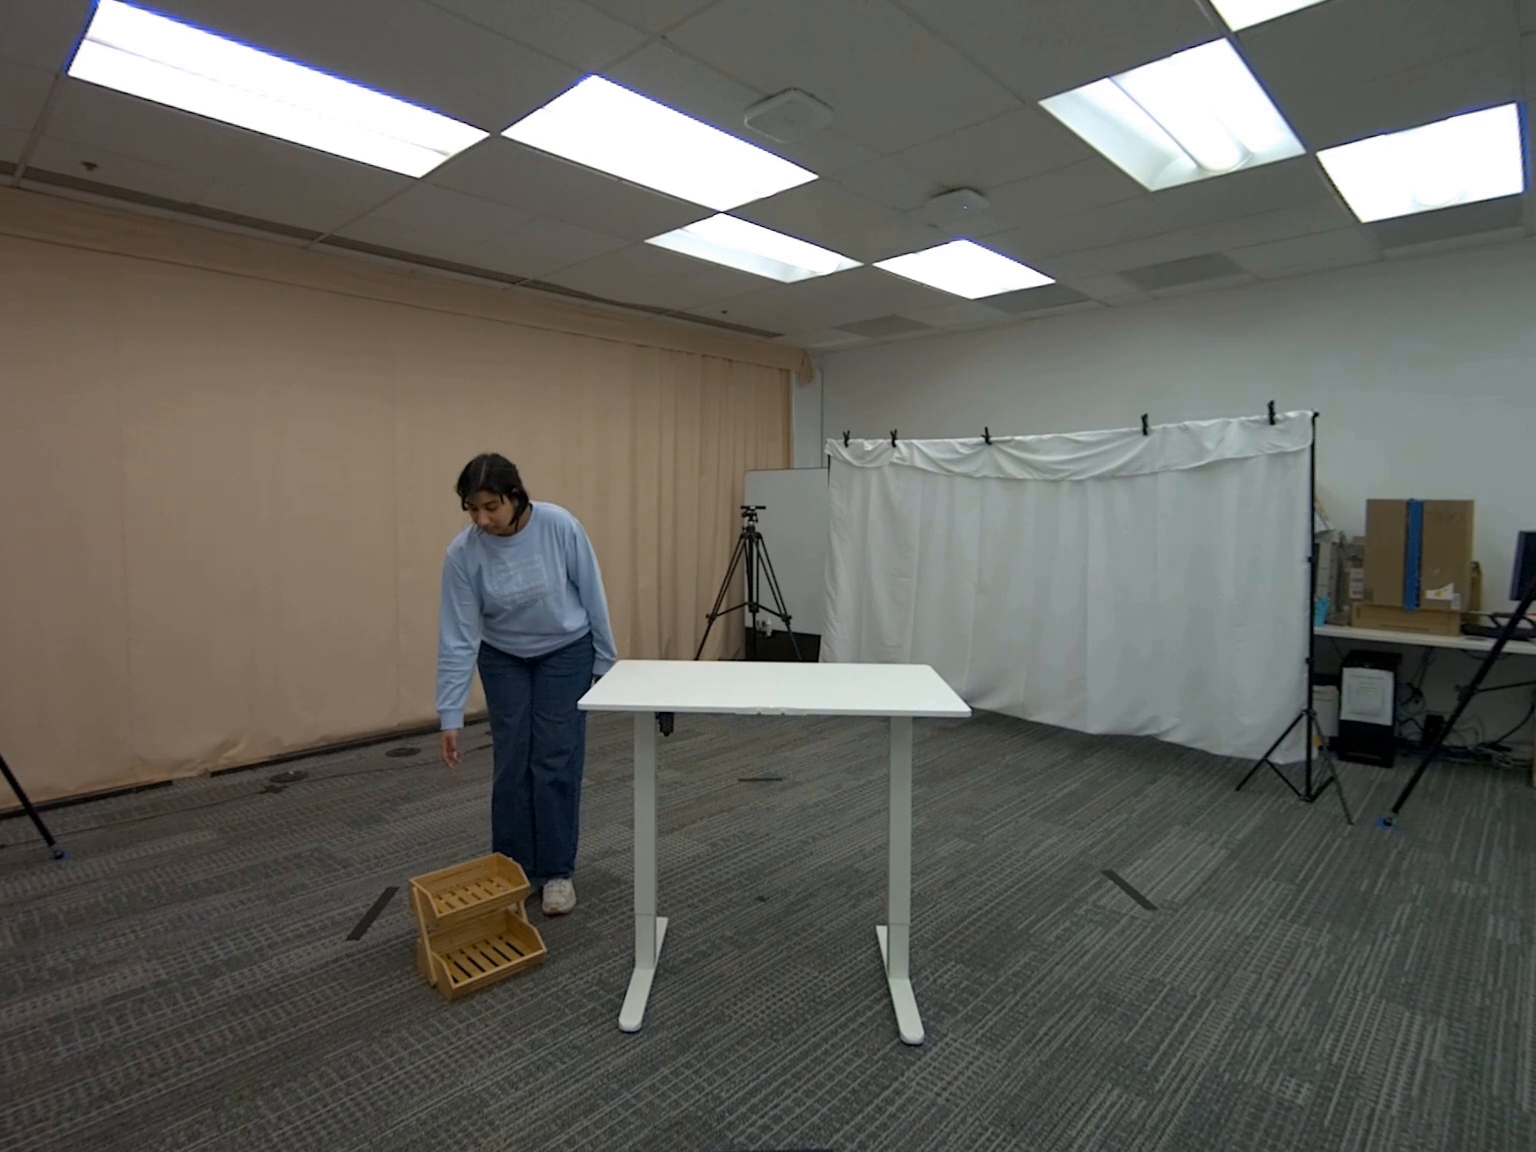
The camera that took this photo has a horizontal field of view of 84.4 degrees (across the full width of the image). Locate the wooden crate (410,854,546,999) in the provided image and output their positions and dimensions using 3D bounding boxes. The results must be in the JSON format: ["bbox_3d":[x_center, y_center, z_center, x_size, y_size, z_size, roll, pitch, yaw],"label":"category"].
[{"bbox_3d":[-0.879,1.044,2.564,0.314,0.273,0.312,-3,4,-44],"label":"wooden crate"}]
